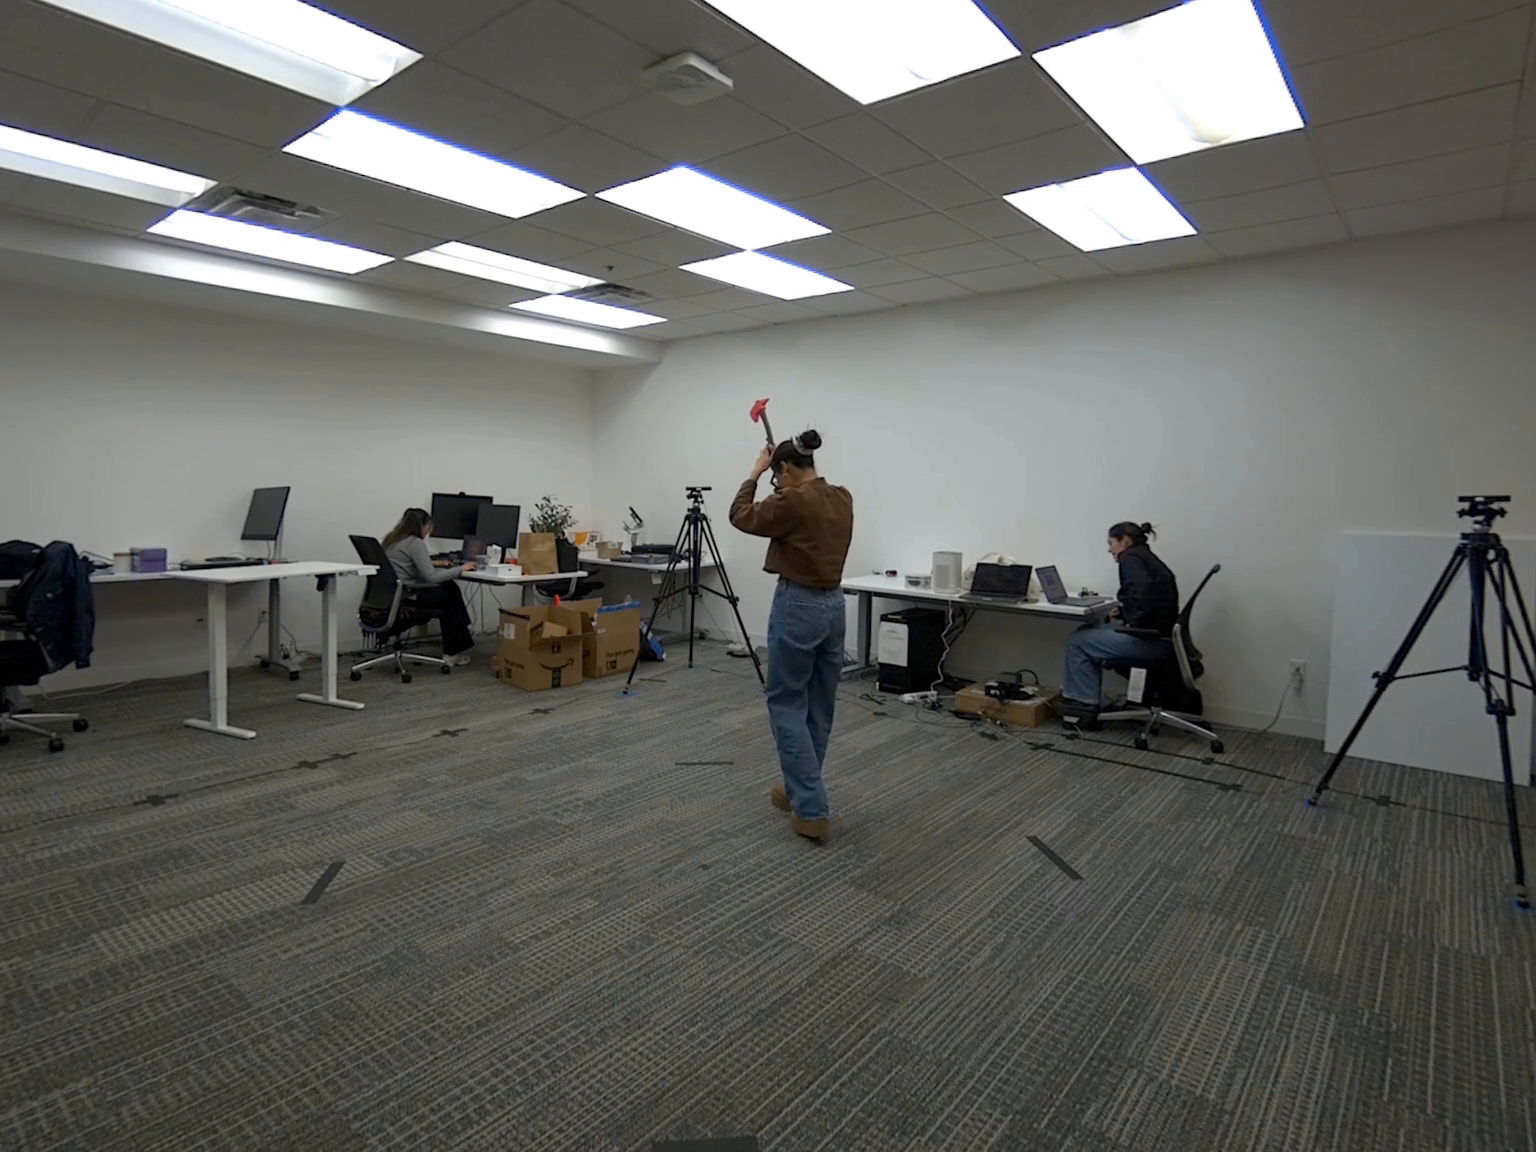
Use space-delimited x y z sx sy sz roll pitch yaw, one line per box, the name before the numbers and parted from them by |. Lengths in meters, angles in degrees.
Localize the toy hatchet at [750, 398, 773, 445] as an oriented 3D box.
toy hatchet | -0.043 -0.657 3.783 0.029 0.271 0.134 -4 -6 -45
